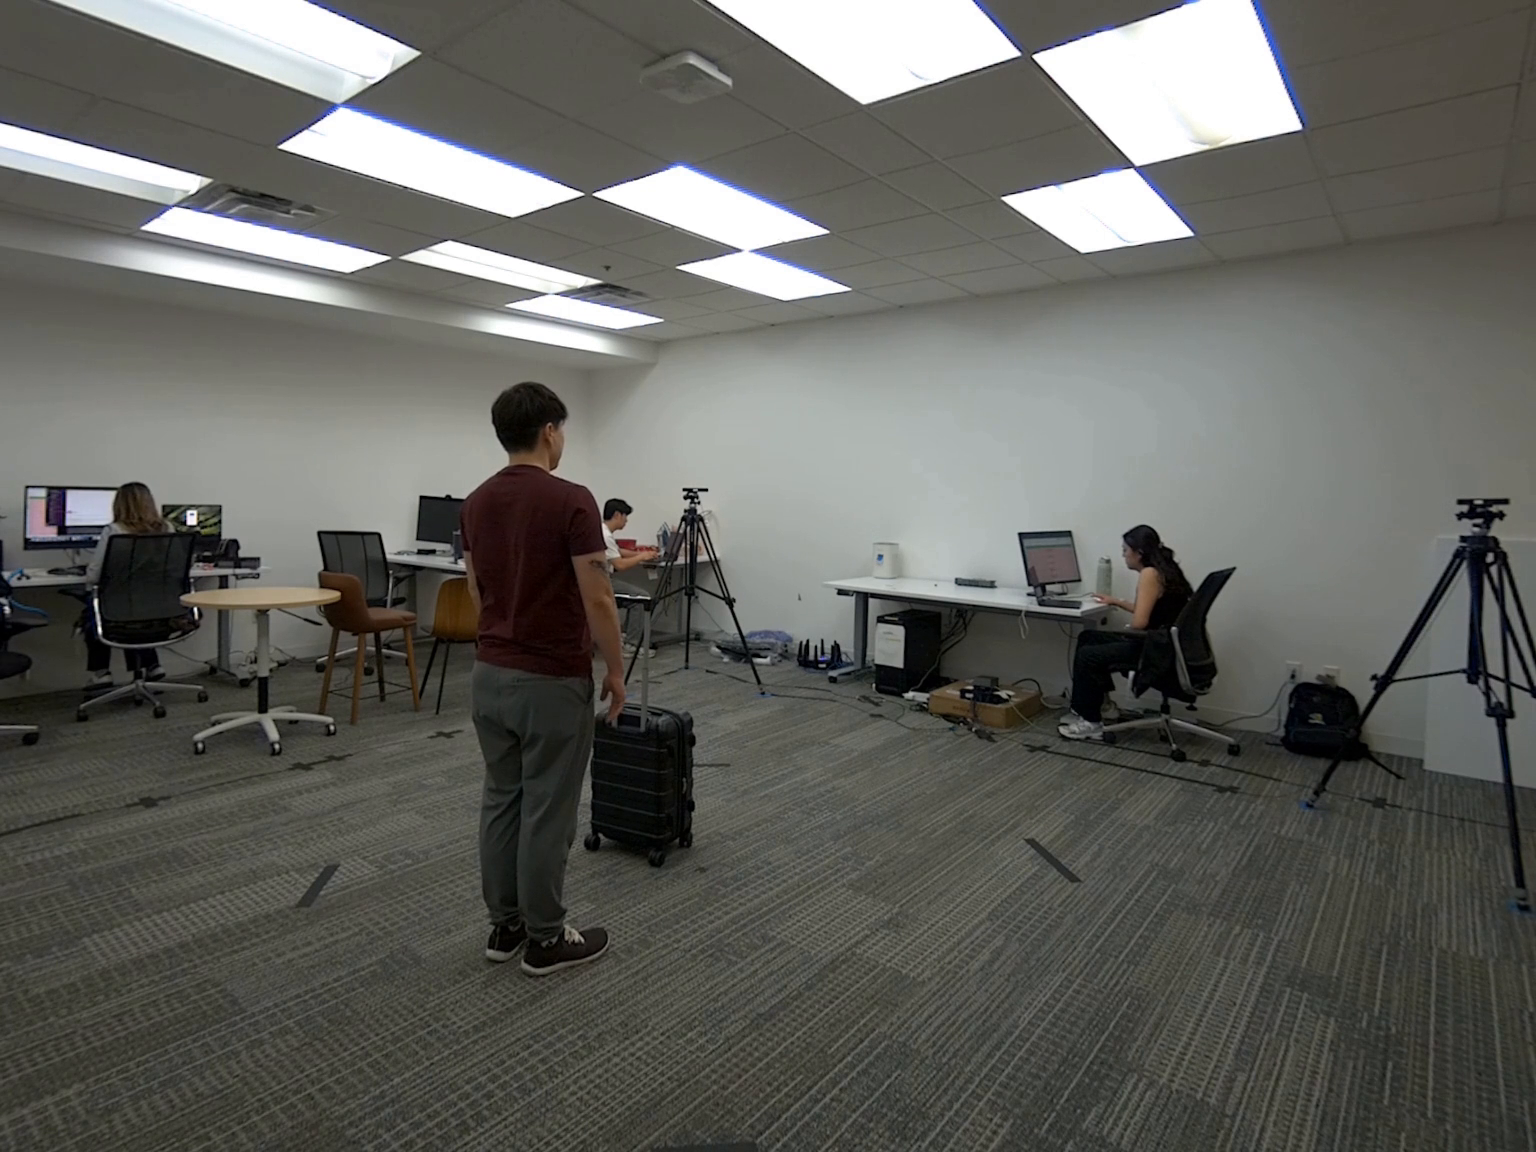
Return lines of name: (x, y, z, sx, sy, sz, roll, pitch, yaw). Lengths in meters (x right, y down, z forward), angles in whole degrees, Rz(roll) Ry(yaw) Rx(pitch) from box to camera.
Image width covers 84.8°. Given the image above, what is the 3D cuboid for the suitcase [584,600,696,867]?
suitcase: (-0.491, 0.572, 3.305, 0.394, 0.979, 0.250, 1, -1, 27)
